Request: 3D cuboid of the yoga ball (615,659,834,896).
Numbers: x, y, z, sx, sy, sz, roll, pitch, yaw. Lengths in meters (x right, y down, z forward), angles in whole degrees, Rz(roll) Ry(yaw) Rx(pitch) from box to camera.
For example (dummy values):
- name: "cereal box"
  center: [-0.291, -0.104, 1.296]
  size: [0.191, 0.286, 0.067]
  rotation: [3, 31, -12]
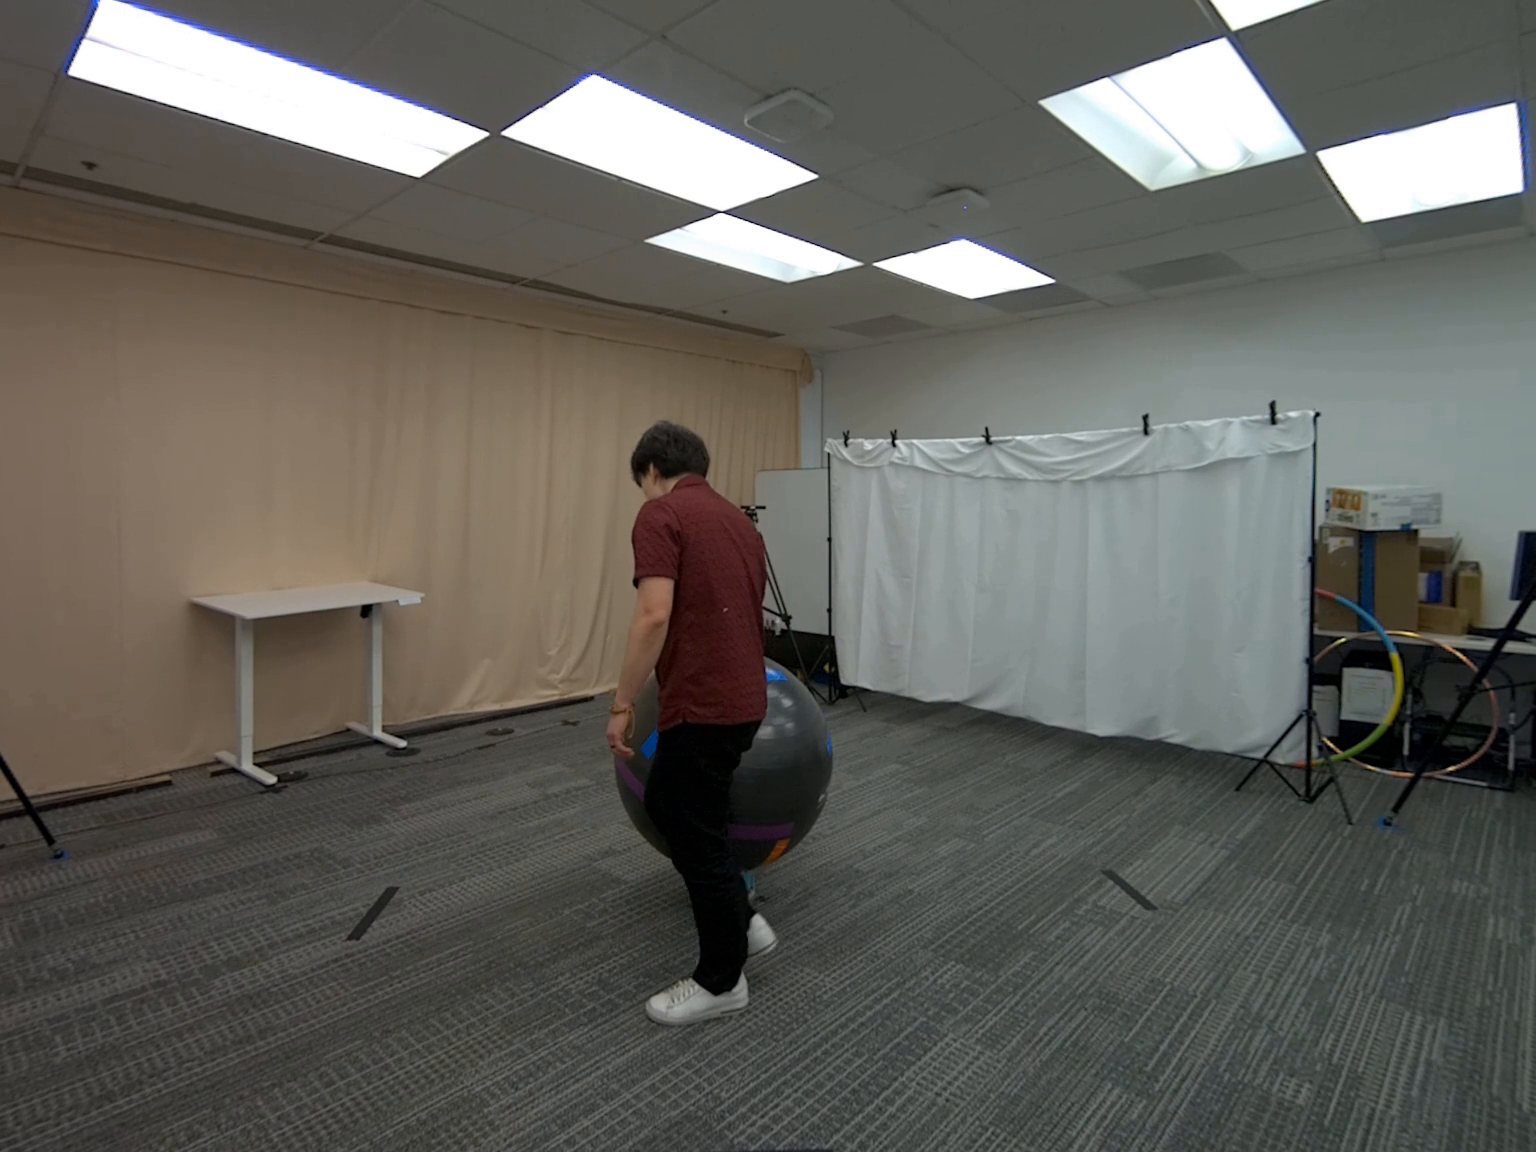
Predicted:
- name: "yoga ball"
  center: [-0.149, 0.643, 2.952]
  size: [0.757, 0.756, 0.760]
  rotation: [0, 4, -2]
